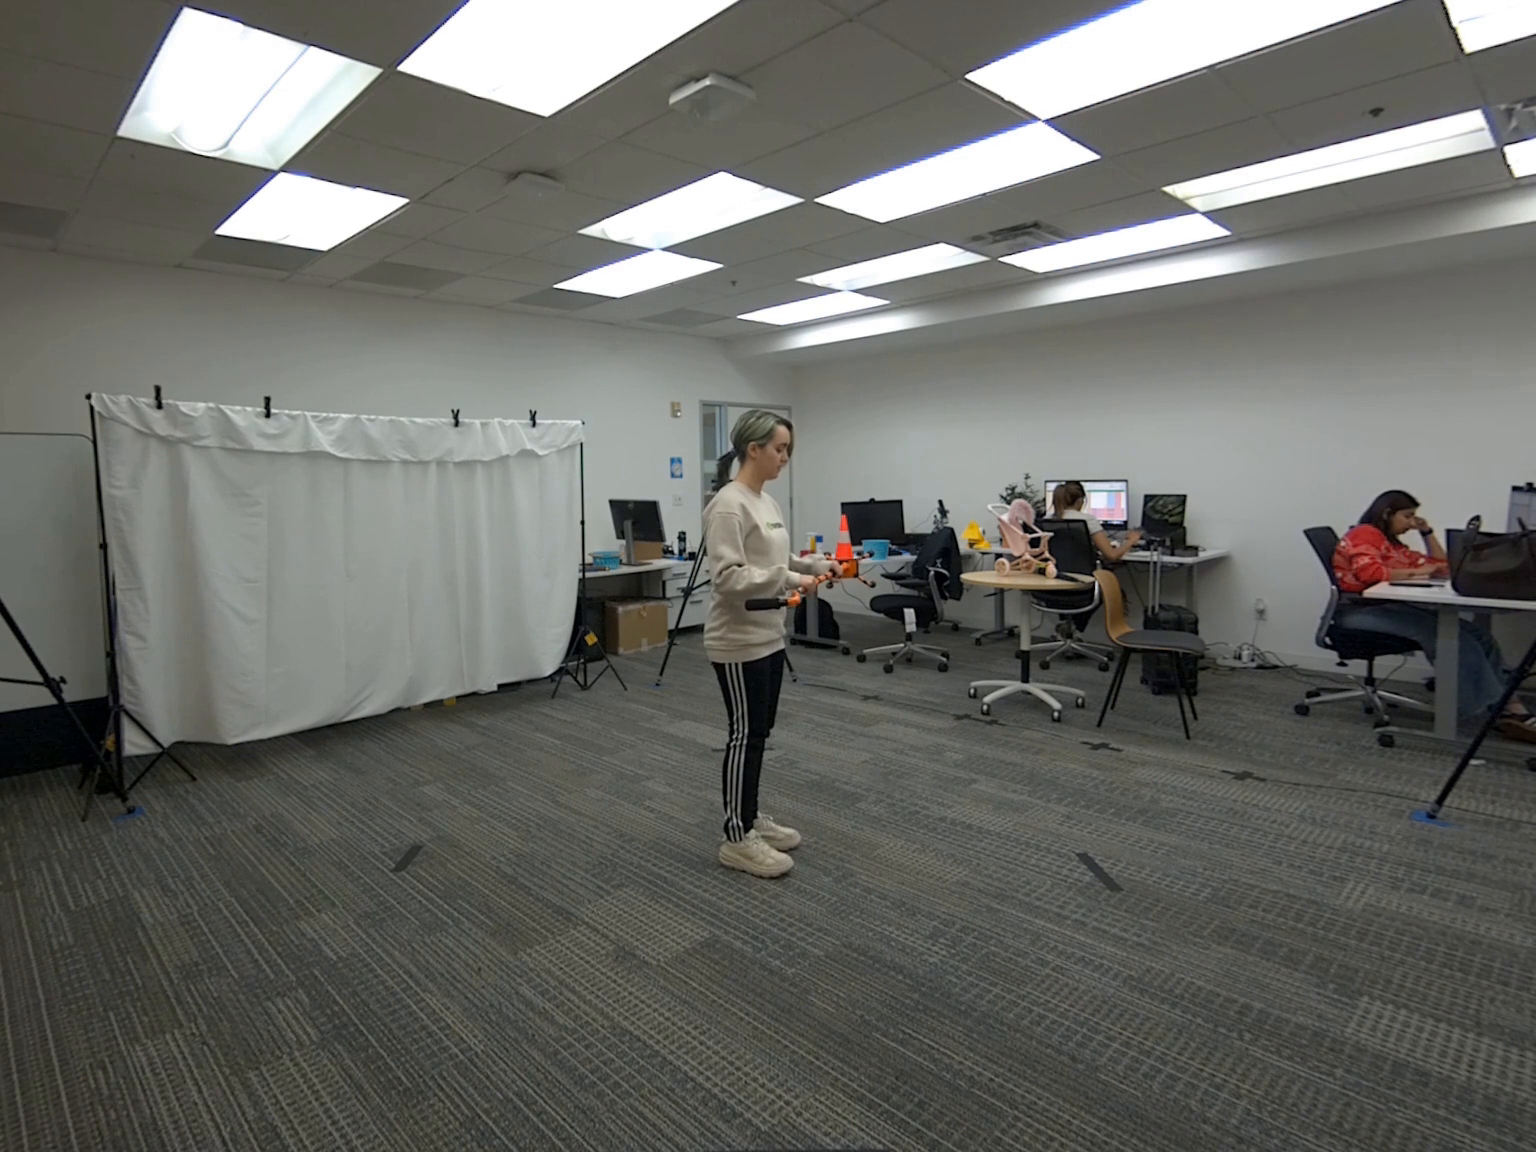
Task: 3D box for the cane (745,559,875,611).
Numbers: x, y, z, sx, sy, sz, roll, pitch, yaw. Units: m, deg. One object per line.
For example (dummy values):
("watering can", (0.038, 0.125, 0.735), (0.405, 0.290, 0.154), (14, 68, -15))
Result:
("cane", (0.181, 0.036, 2.998), (0.210, 0.151, 0.894), (-2, 7, 21))
